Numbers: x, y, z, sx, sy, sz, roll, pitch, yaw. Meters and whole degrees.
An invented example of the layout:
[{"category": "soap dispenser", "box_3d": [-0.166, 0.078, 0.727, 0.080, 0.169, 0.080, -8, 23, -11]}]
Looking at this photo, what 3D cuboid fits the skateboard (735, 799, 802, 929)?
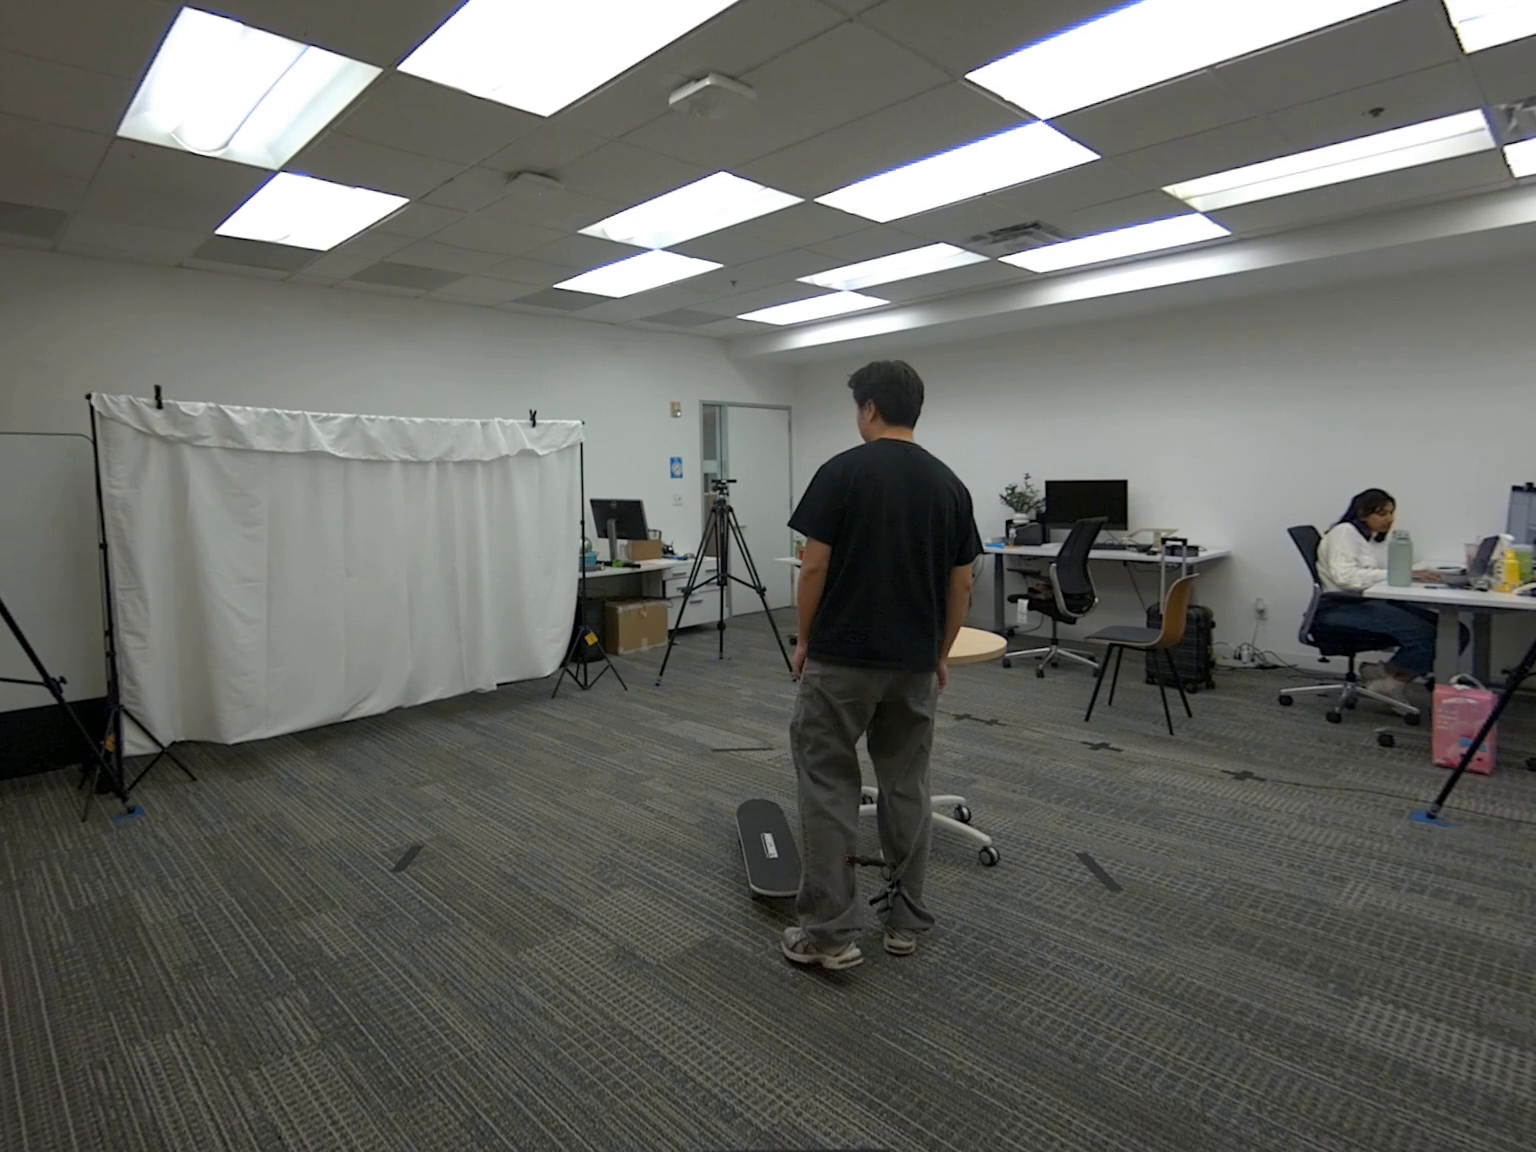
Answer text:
[{"category": "skateboard", "box_3d": [0.015, 0.997, 3.058, 0.192, 0.110, 0.793, -2, 6, -7]}]
